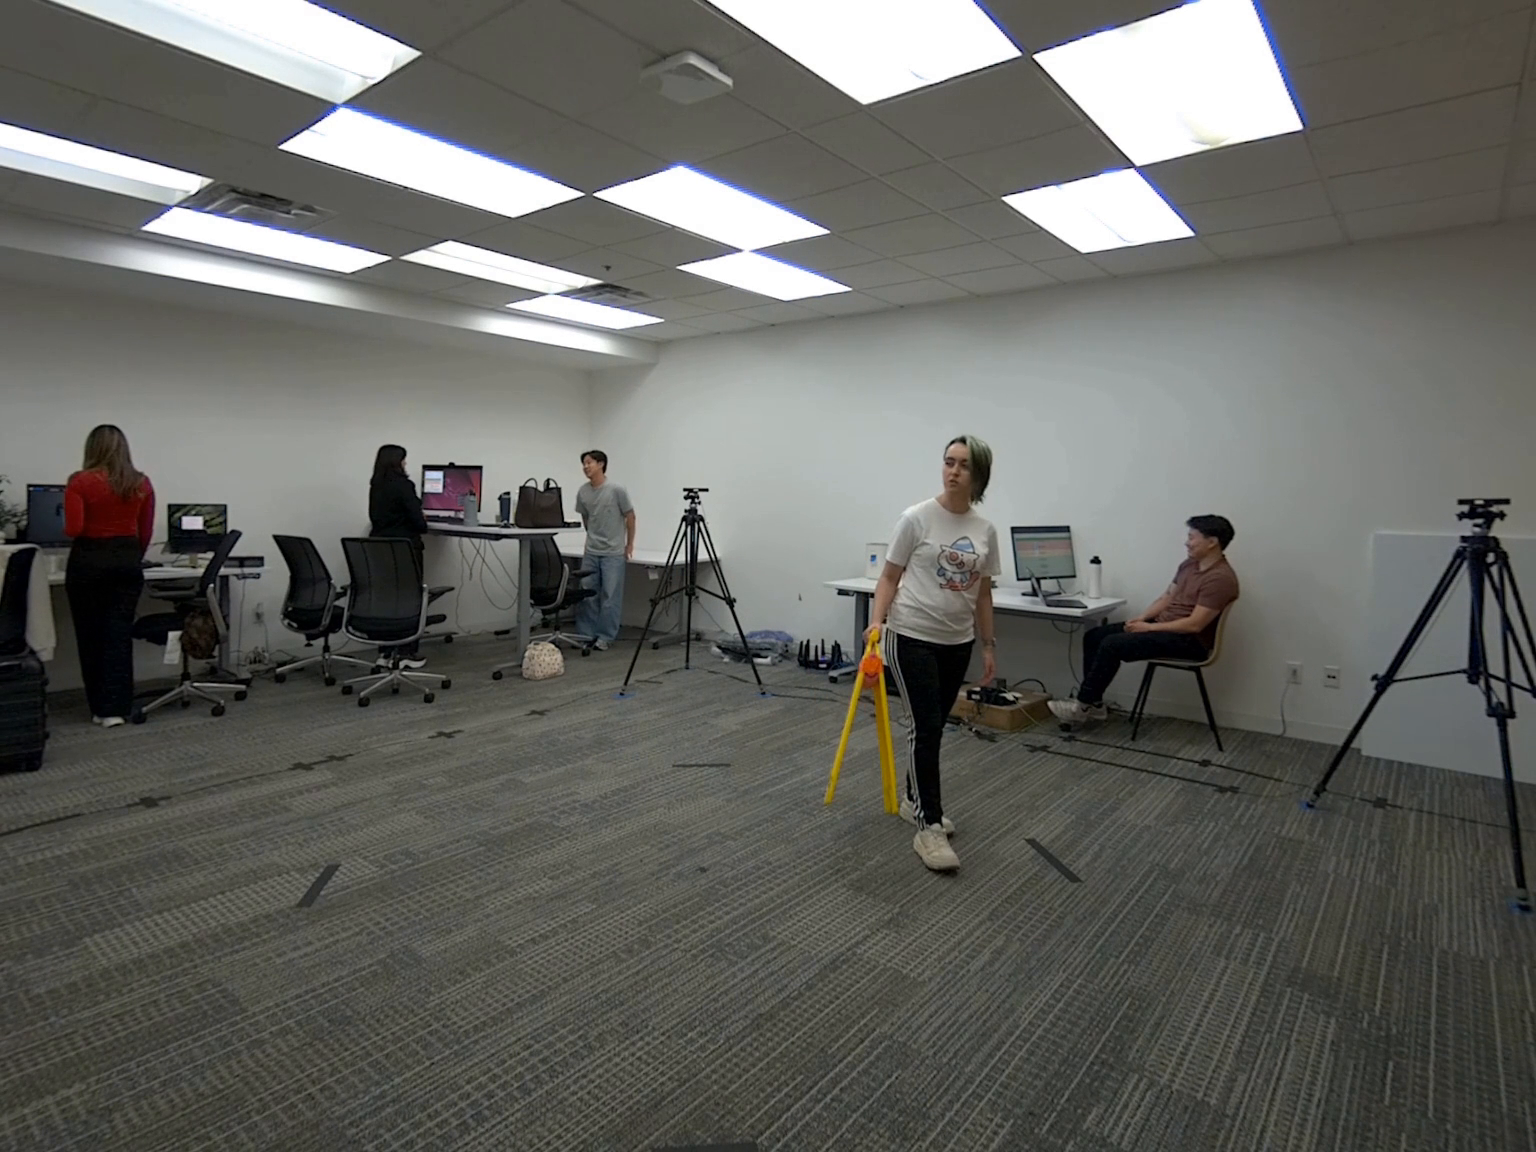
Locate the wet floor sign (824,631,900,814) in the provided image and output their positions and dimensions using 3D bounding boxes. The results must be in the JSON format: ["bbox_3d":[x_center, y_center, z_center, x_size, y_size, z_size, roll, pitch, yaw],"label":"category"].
[{"bbox_3d":[0.368,0.535,3.187,0.291,0.654,0.277,6,-16,3],"label":"wet floor sign"}]
